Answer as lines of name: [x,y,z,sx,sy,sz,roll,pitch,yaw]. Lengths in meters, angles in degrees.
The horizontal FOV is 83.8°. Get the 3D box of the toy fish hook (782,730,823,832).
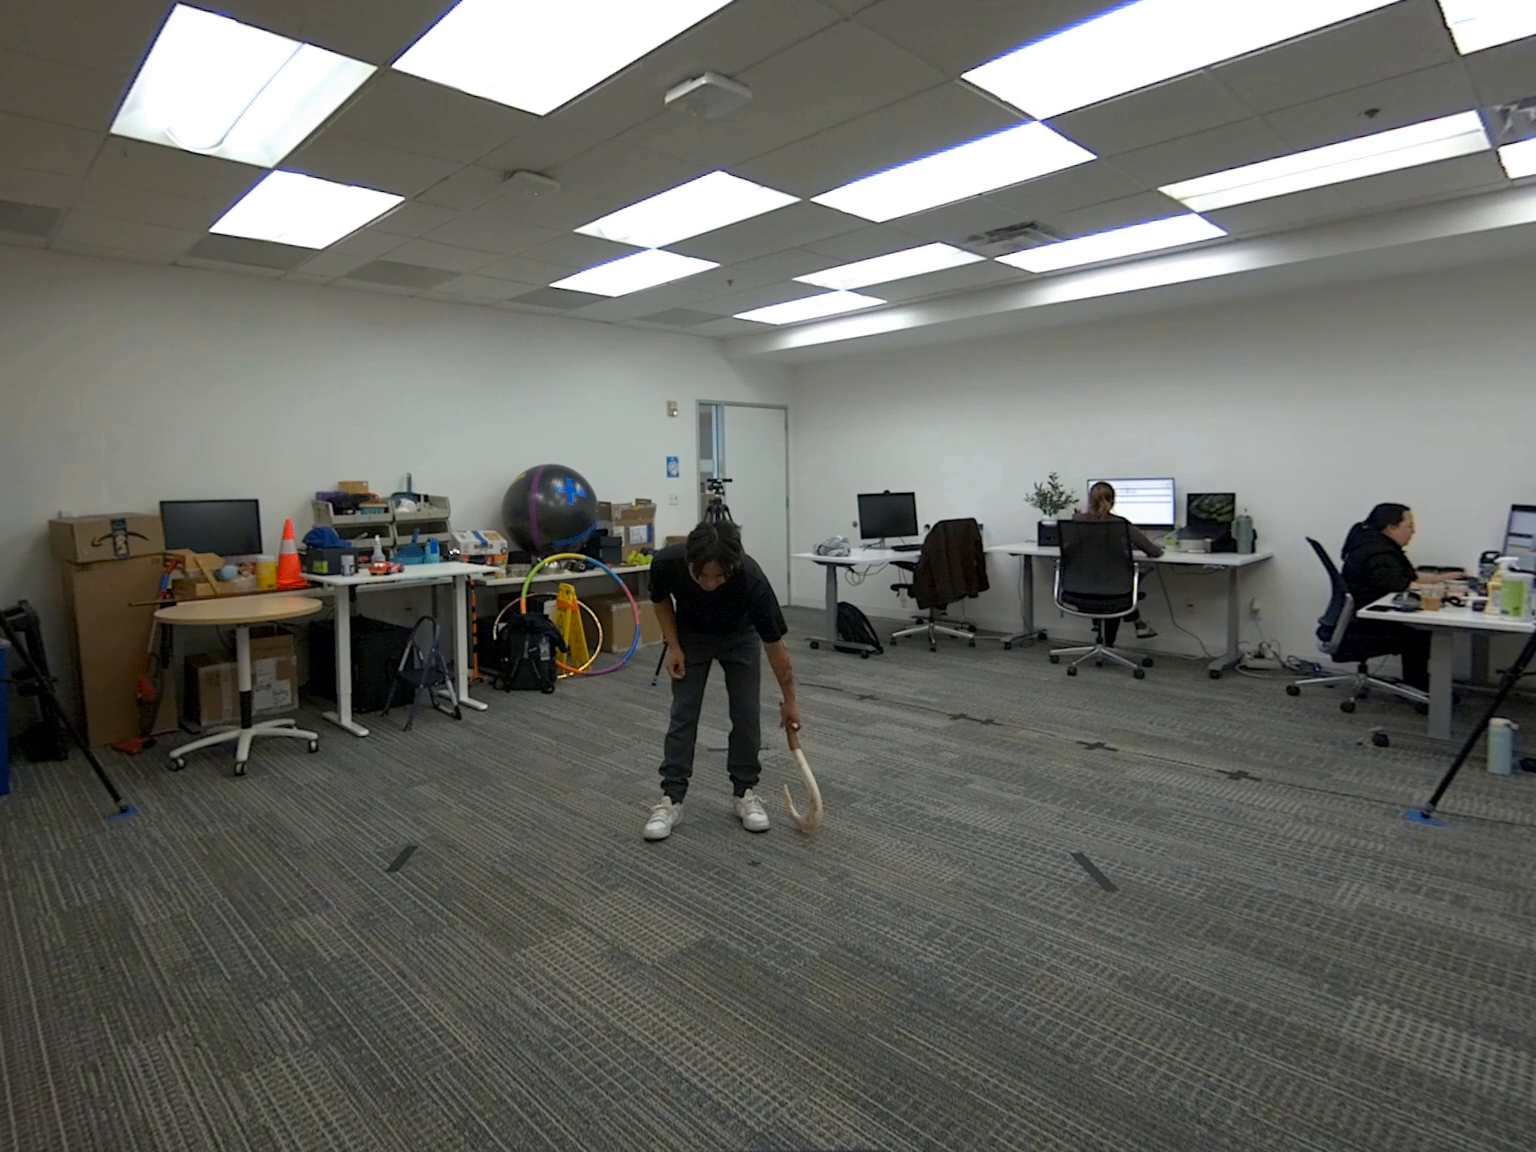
toy fish hook: [0.097,0.769,3.429,0.047,0.519,0.226,3,-29,-37]
